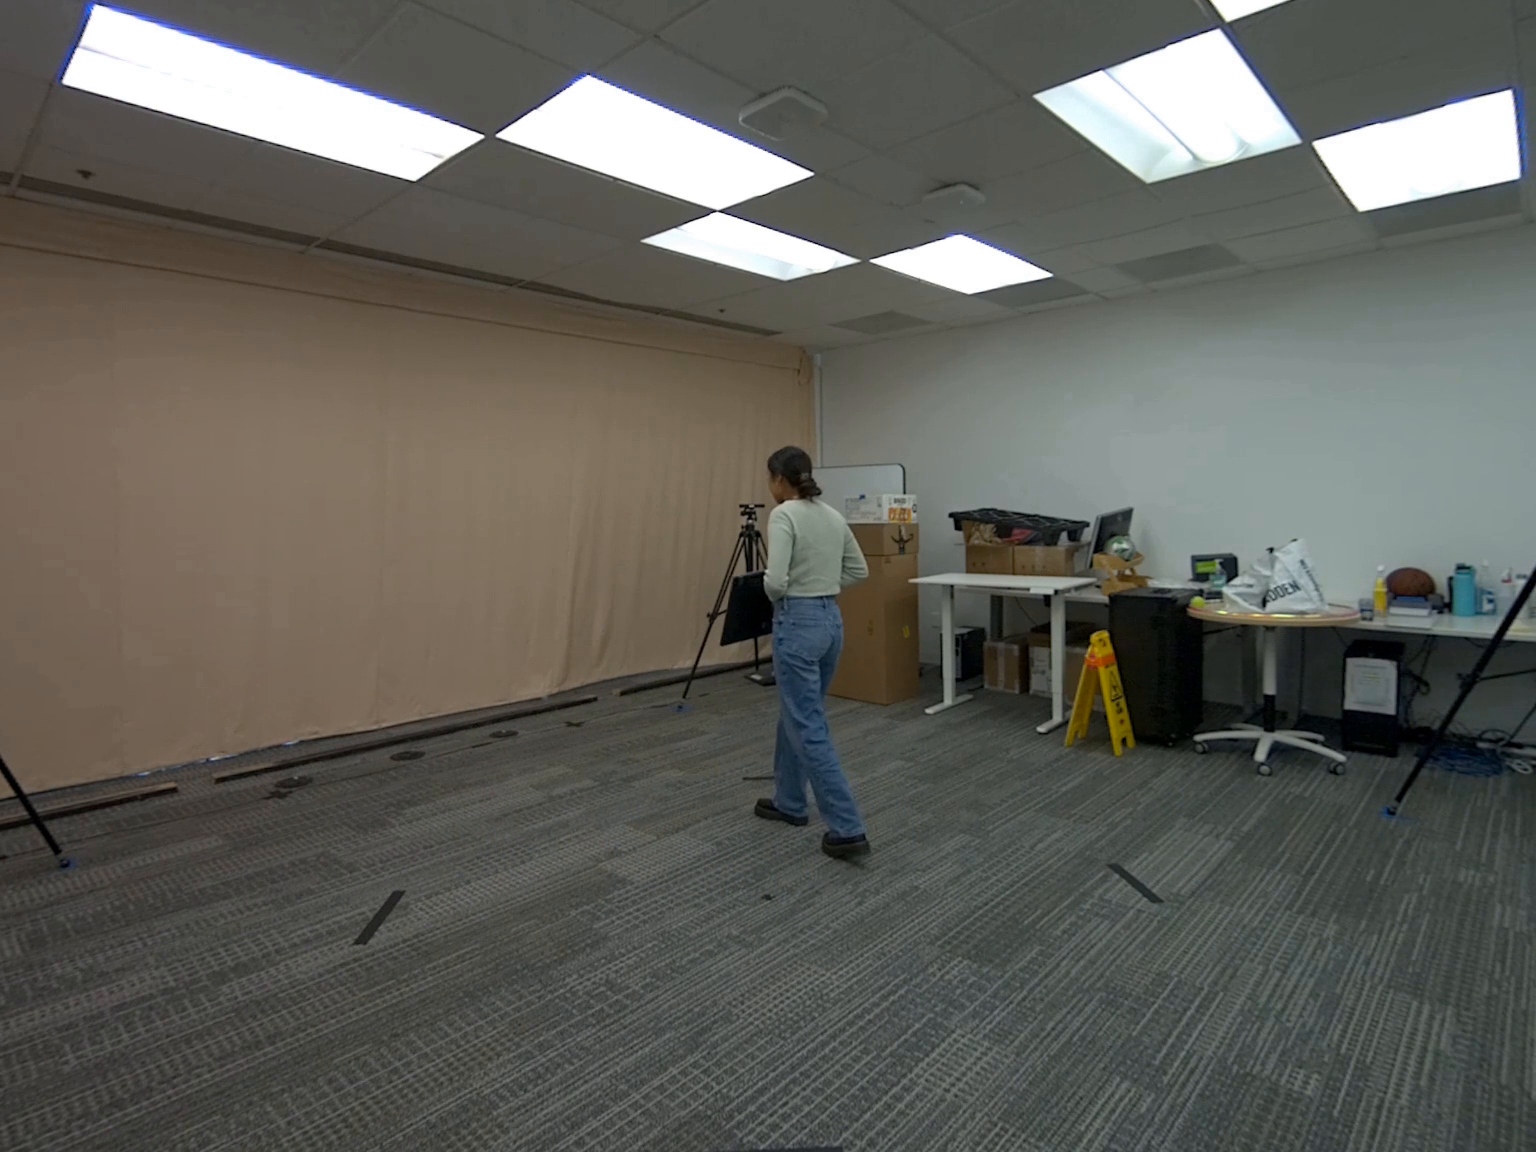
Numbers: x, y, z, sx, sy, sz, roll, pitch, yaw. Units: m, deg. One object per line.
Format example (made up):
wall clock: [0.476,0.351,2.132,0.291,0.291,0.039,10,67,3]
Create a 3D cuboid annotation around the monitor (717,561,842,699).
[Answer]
monitor: [0.057,0.197,3.689,0.516,0.512,0.181,-12,15,-35]
